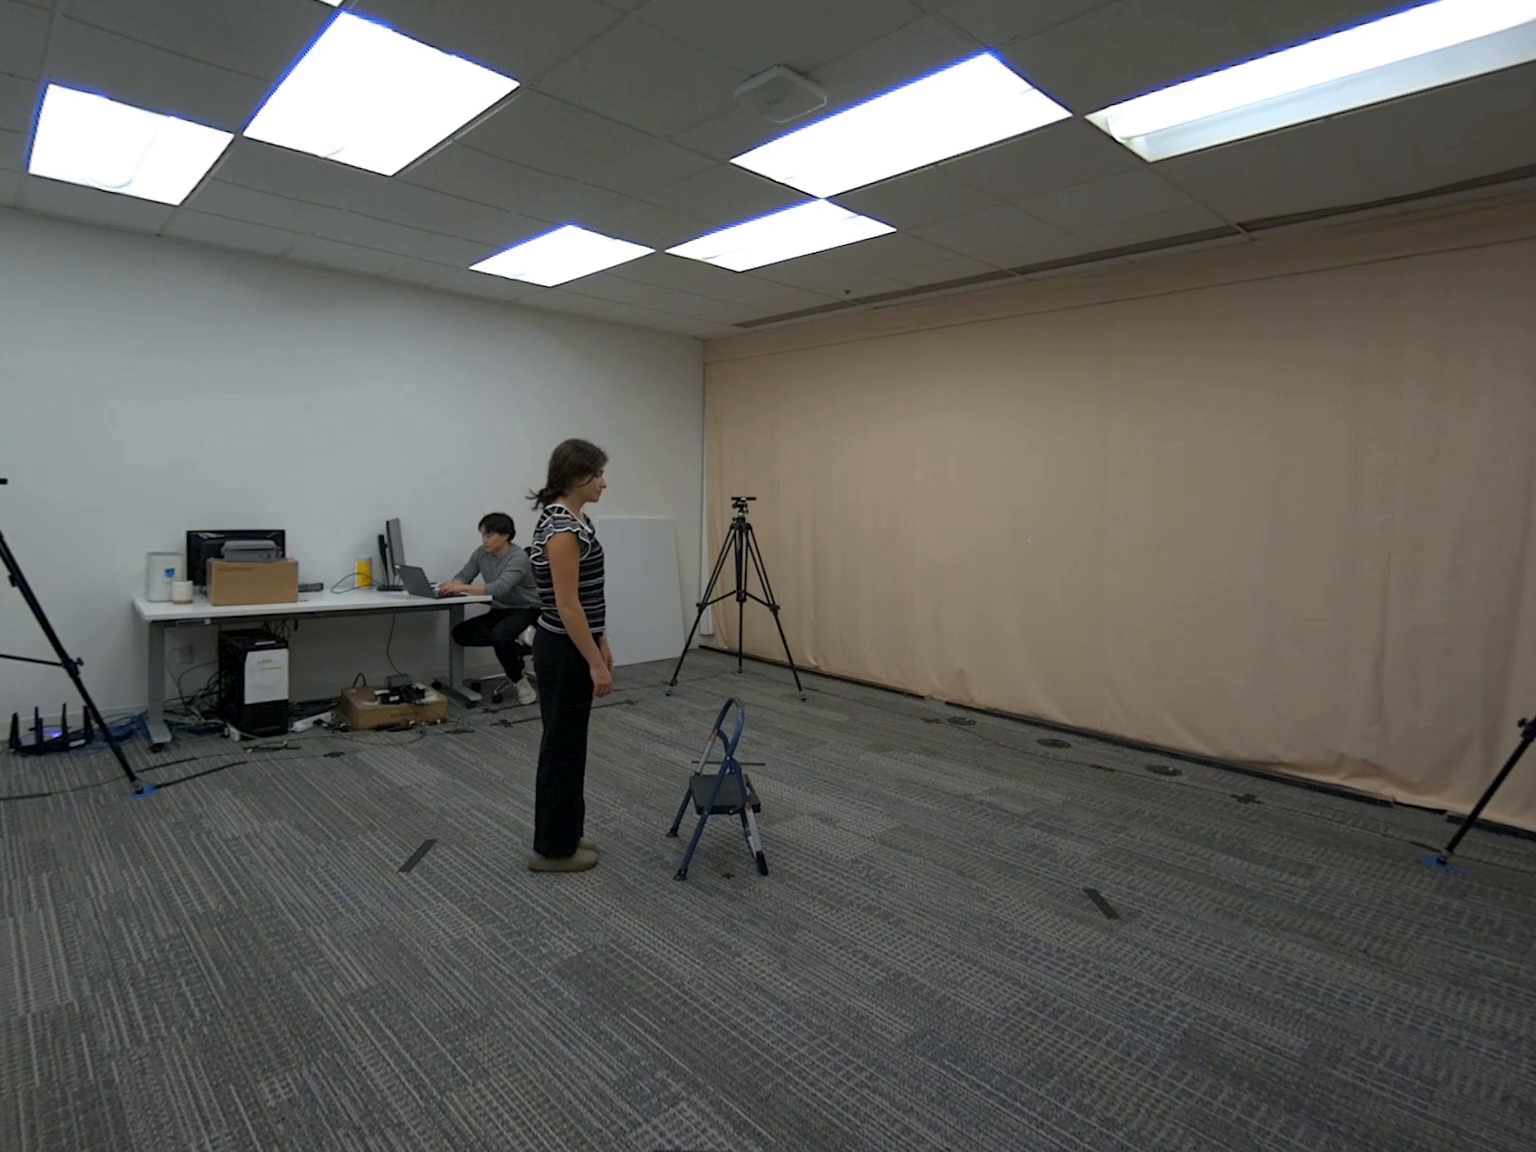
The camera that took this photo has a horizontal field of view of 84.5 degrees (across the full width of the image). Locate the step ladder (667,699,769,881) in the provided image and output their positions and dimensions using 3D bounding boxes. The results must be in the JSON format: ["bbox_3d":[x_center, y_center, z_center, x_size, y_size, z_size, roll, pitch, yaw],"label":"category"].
[{"bbox_3d":[-0.207,0.790,3.274,0.346,0.604,0.435,0,4,-10],"label":"step ladder"}]
